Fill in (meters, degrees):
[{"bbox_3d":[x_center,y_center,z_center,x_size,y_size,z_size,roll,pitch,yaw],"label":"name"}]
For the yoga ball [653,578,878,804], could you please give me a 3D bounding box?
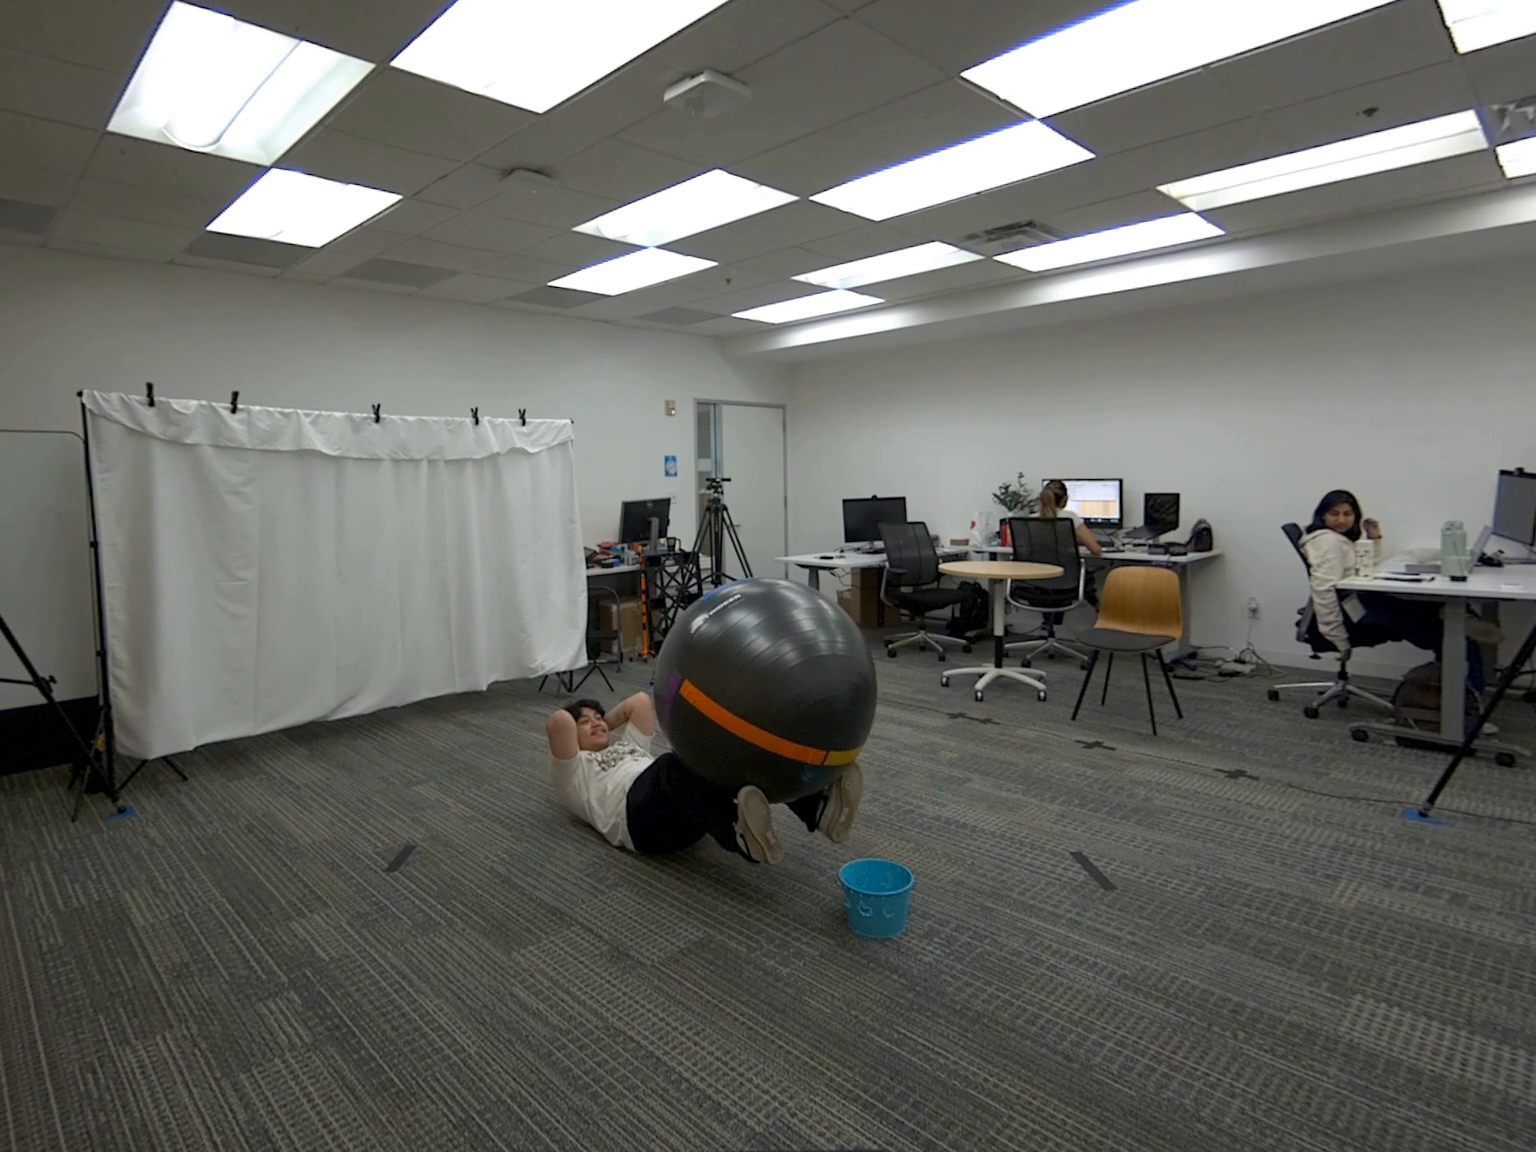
[{"bbox_3d":[-0.009,0.380,2.923,0.757,0.755,0.762,-1,5,-2],"label":"yoga ball"}]
